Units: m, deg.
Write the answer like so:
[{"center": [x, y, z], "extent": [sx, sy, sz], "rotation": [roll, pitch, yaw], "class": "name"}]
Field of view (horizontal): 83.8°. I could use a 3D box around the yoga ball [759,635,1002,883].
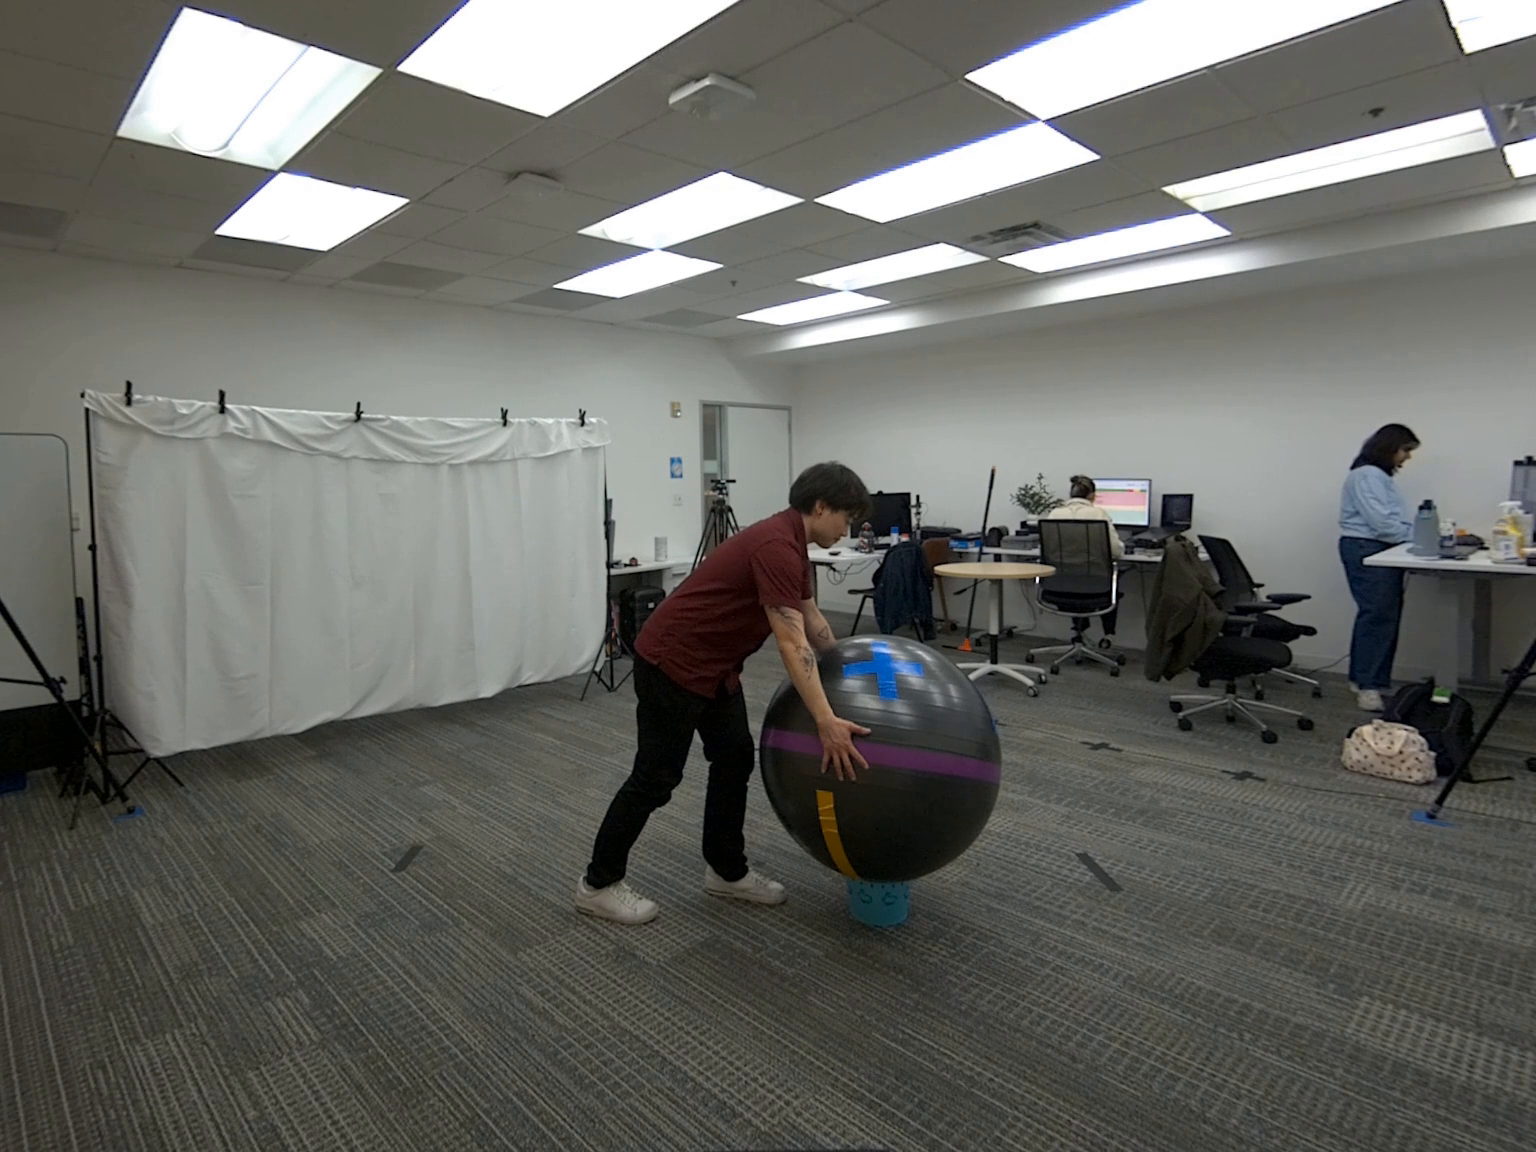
[{"center": [0.359, 0.572, 2.727], "extent": [0.757, 0.755, 0.762], "rotation": [-1, 5, -2], "class": "yoga ball"}]
